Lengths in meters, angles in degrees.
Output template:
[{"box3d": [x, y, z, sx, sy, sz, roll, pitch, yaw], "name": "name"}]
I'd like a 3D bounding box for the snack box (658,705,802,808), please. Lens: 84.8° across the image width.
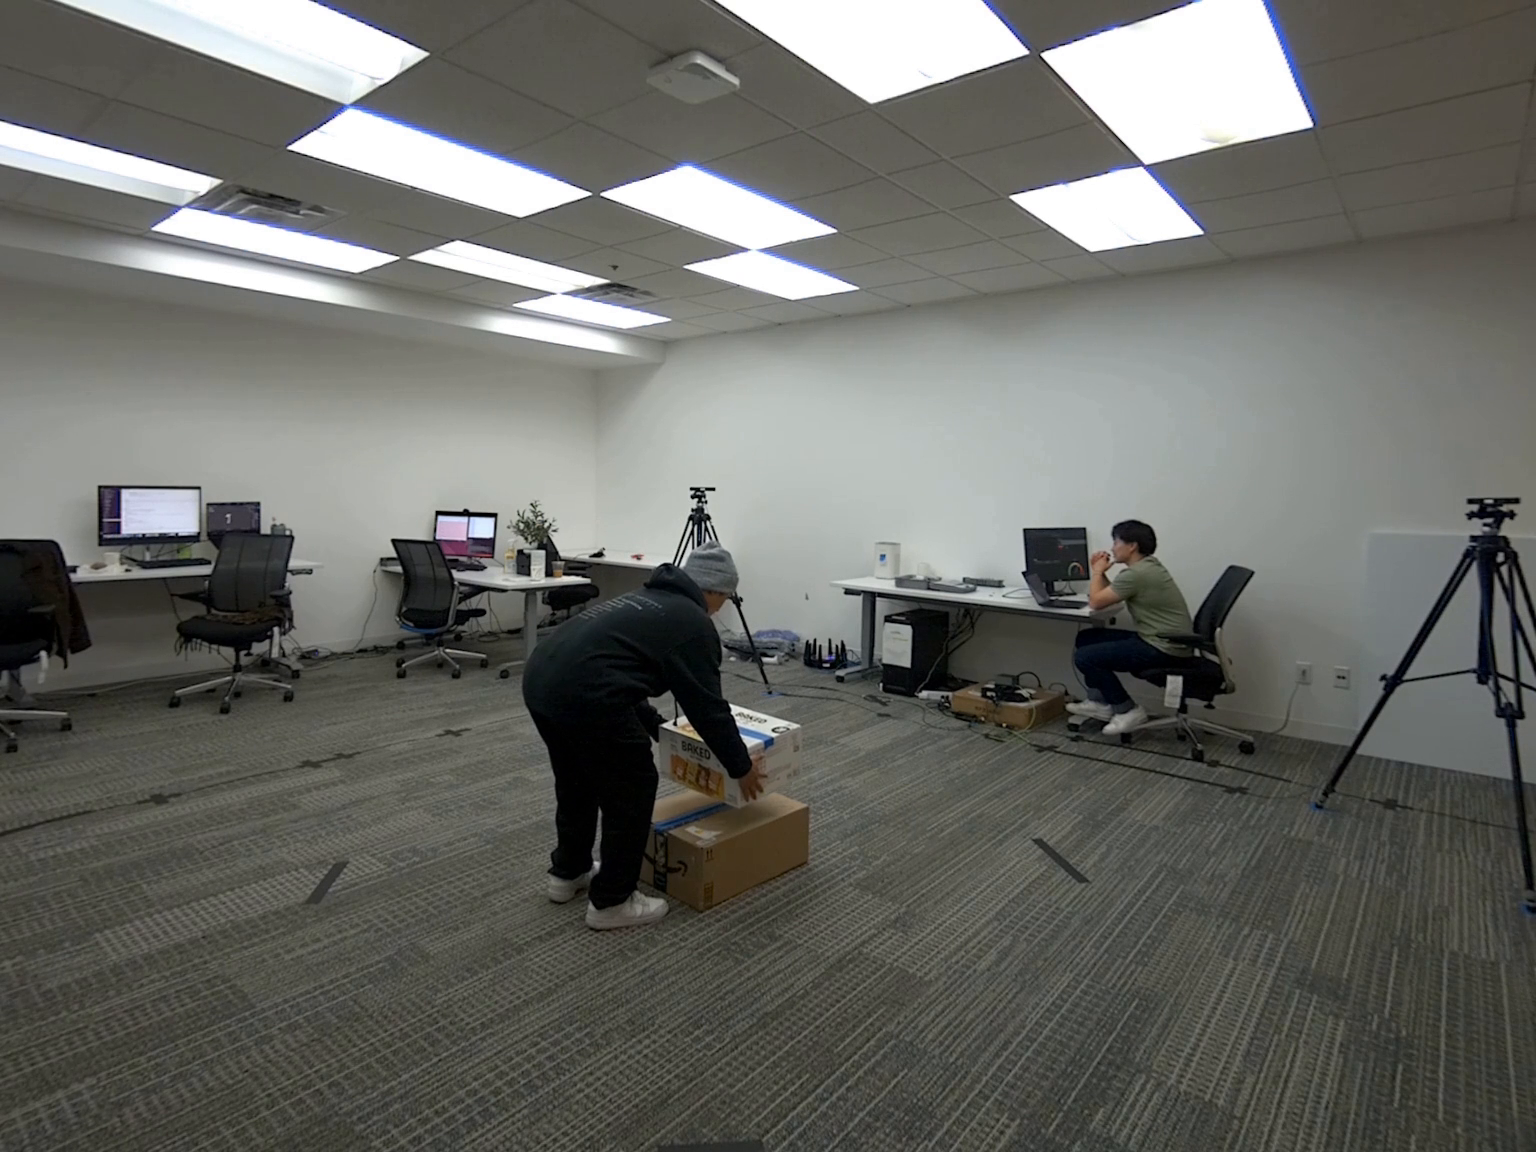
[{"box3d": [-0.147, 0.643, 3.124, 0.419, 0.204, 0.331, 8, 14, 43], "name": "snack box"}]
